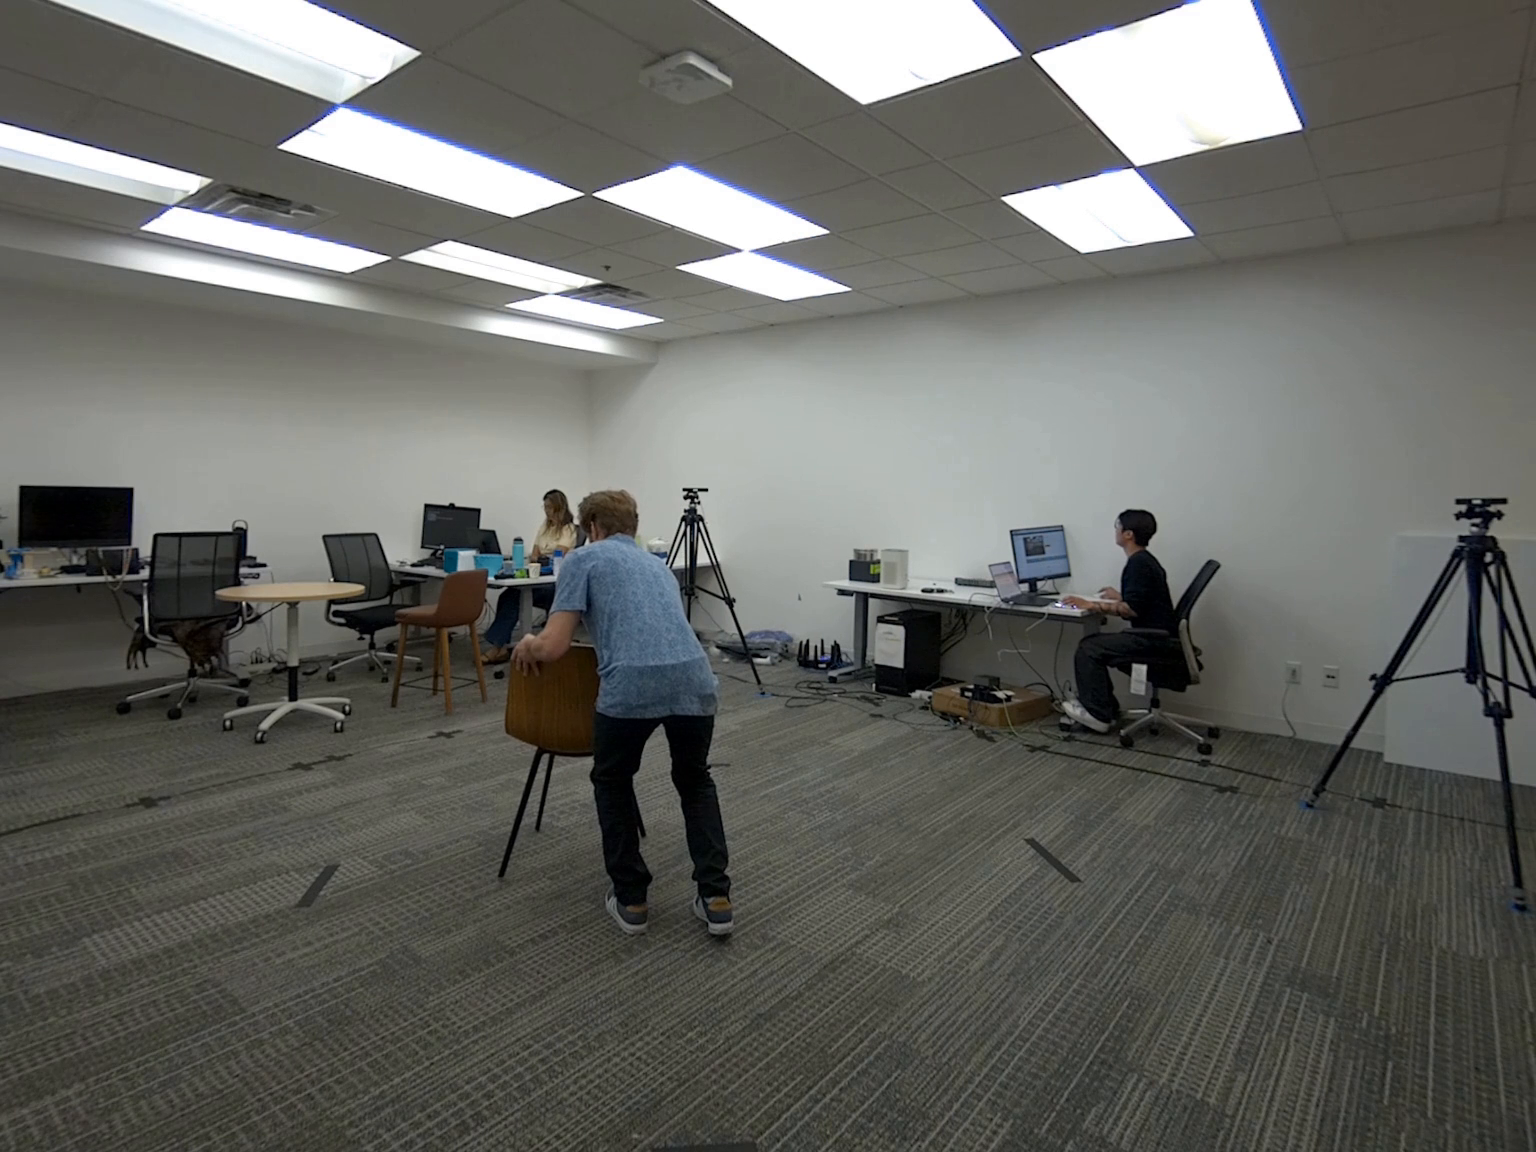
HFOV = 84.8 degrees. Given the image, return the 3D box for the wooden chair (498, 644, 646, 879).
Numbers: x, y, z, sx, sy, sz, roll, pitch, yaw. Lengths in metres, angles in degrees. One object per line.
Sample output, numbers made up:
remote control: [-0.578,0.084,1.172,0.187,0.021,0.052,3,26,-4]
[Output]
wooden chair: [-0.725,0.623,3.190,0.481,0.872,0.523,1,6,4]
